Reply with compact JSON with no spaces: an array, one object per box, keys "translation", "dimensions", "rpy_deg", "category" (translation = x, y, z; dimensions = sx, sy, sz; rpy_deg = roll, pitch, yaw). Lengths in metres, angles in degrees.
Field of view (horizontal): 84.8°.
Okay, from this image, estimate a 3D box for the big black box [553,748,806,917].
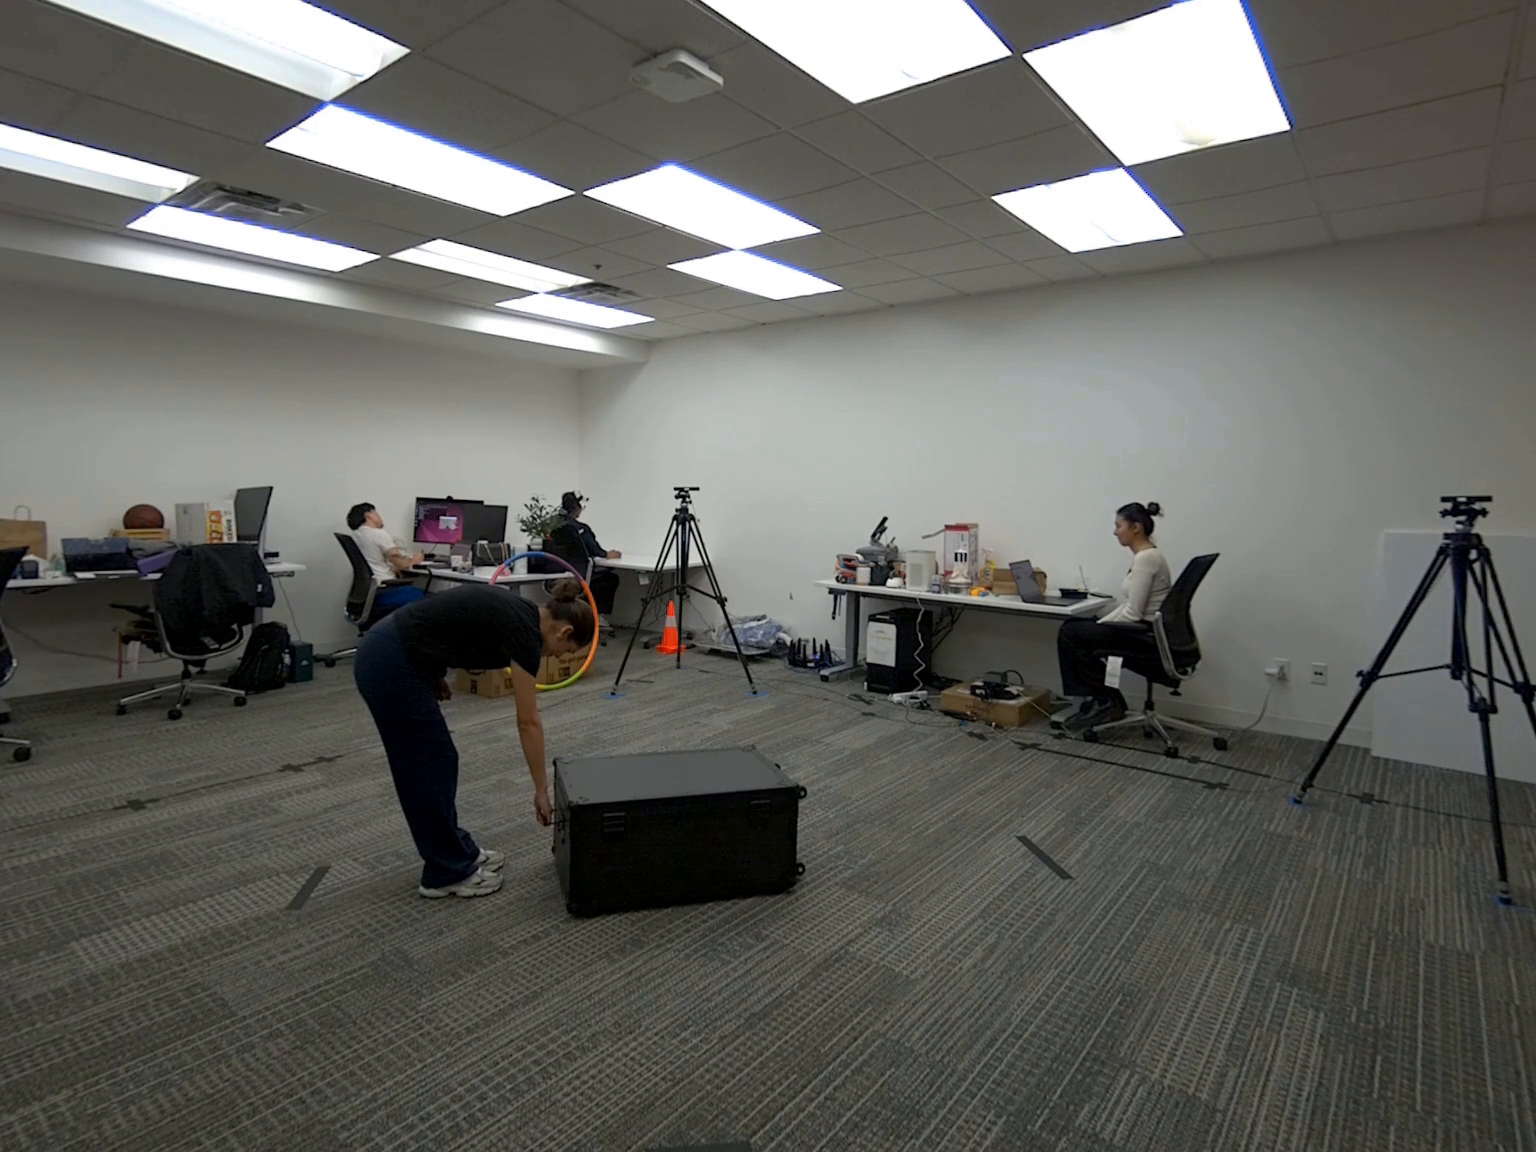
[{"translation":[-0.302,0.876,3.057],"dimensions":[0.846,0.395,0.533],"rpy_deg":[-1,5,-18],"category":"big black box"}]
